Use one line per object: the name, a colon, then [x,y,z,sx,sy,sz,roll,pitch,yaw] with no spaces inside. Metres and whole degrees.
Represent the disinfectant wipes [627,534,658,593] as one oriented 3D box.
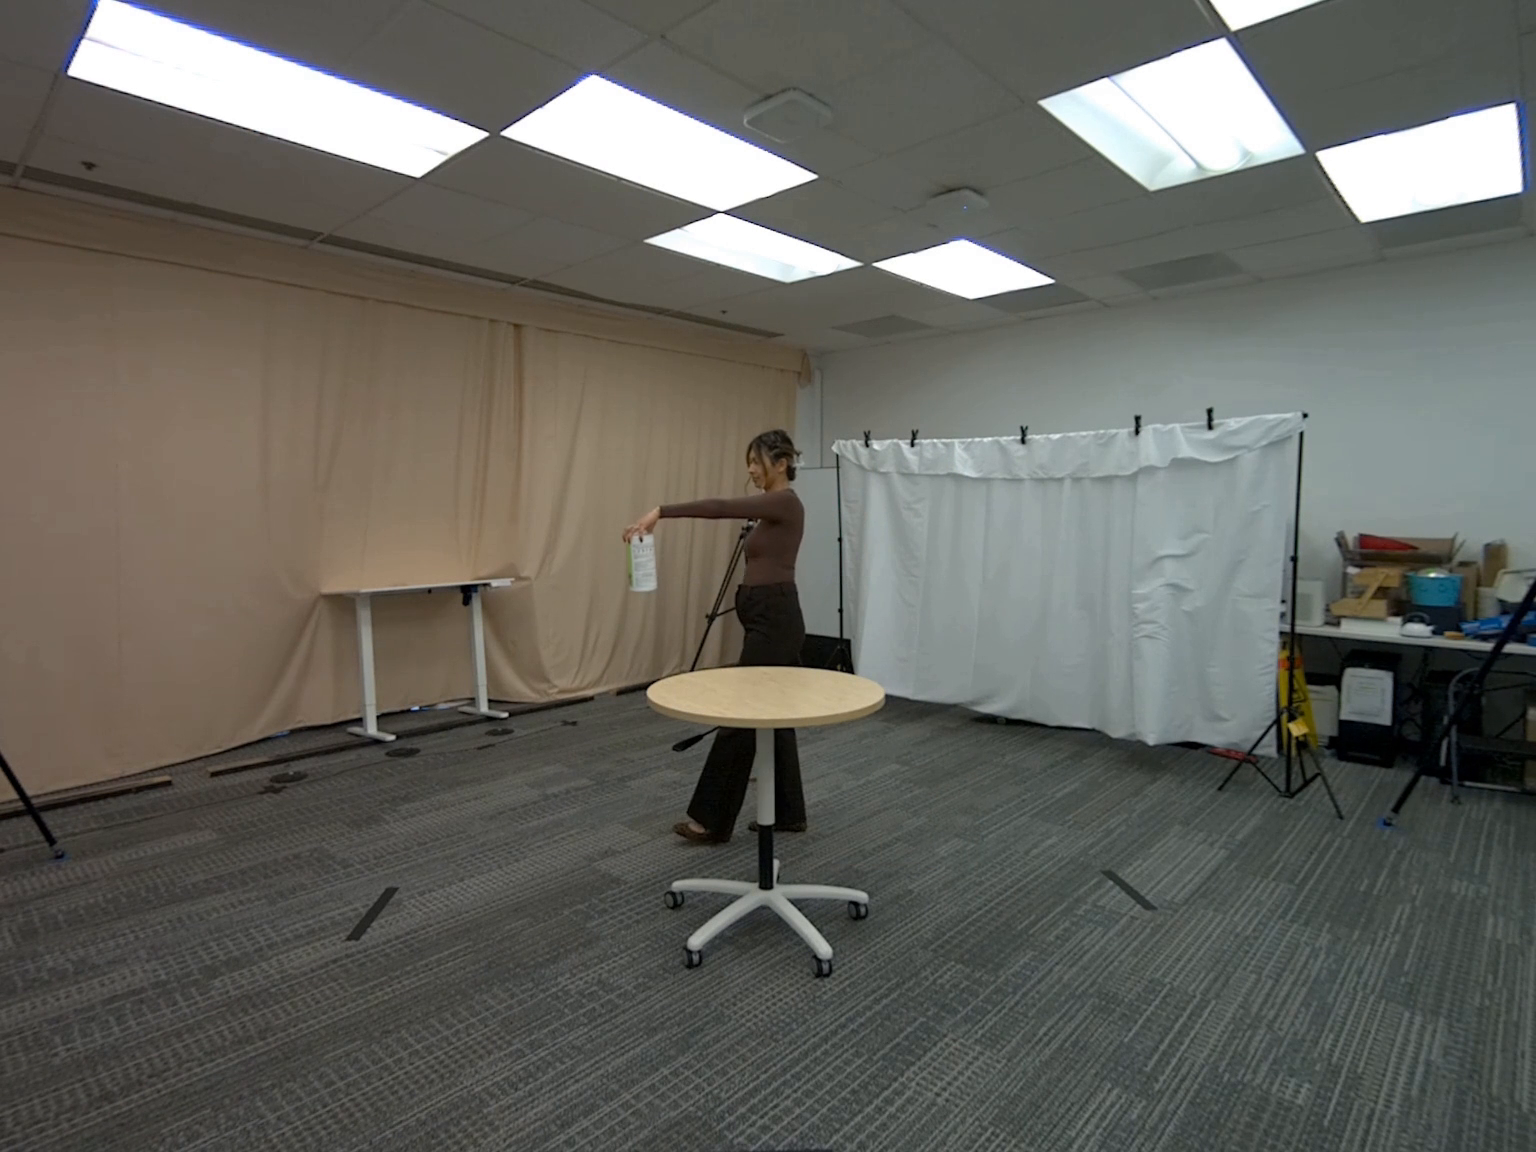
disinfectant wipes: [-0.483,-0.051,3.206,0.118,0.216,0.118,-1,8,-2]
